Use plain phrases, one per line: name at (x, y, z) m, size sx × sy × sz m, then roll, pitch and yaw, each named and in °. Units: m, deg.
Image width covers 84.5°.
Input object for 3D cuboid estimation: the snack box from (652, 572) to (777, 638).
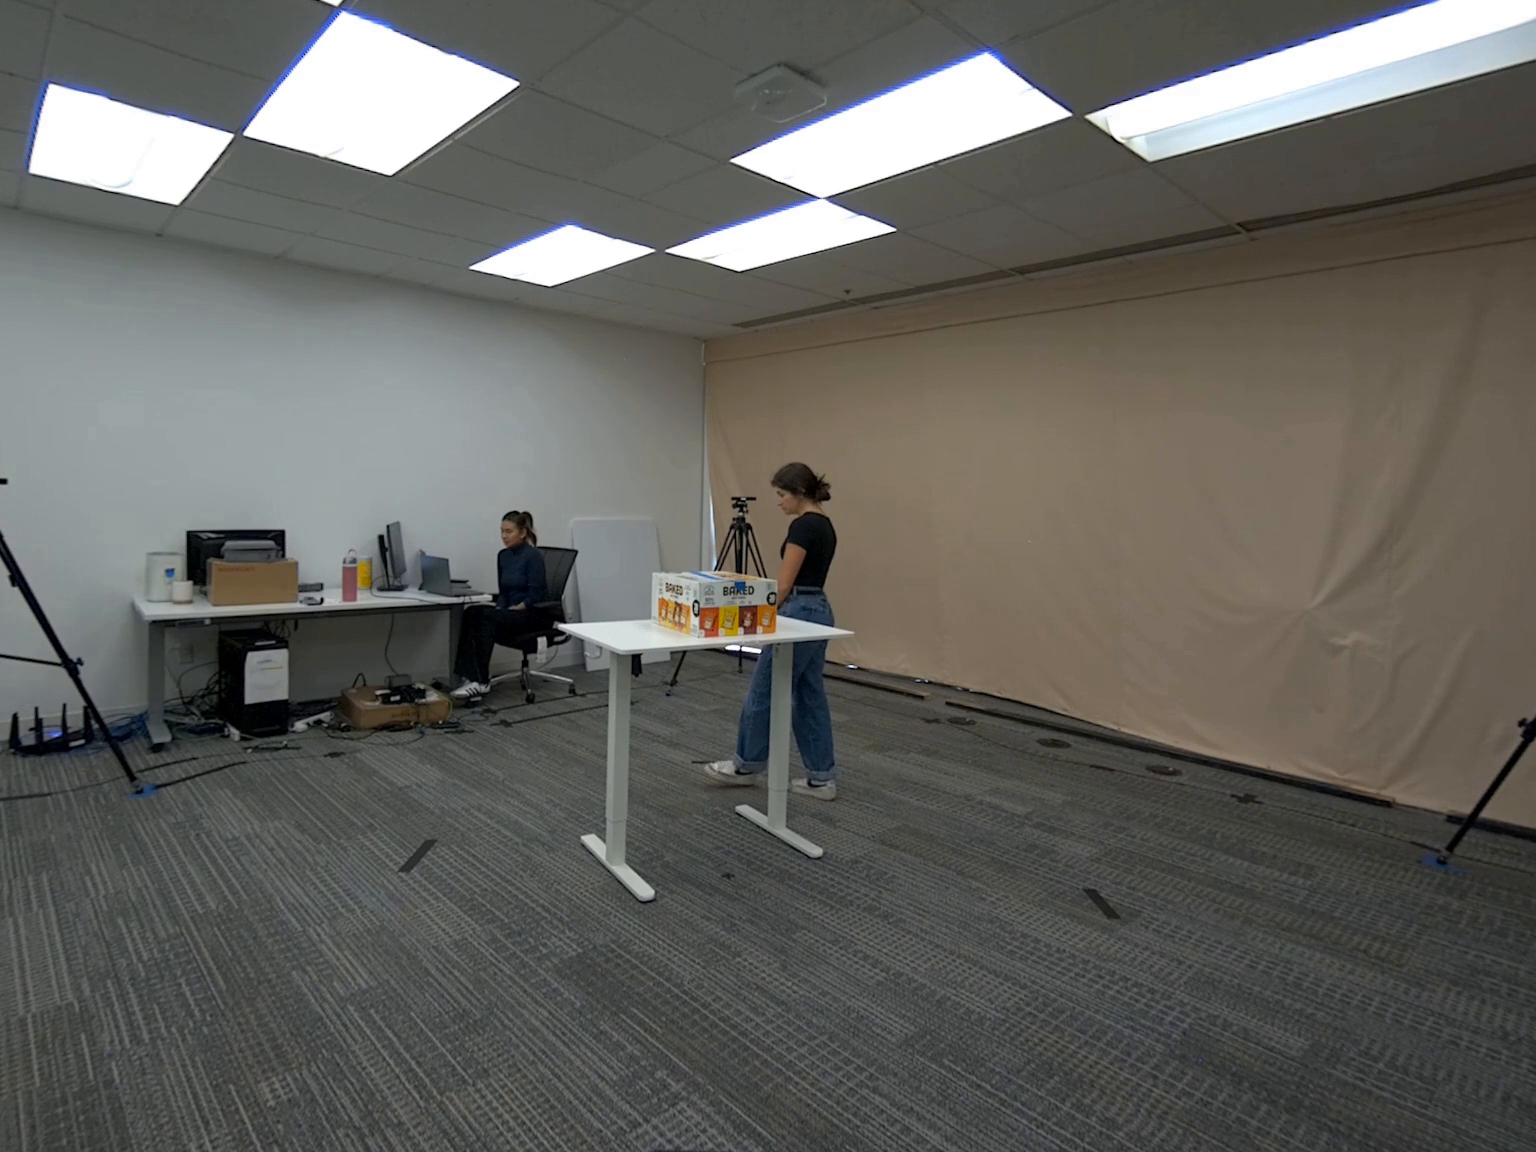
snack box at (-0.230, 0.102, 3.312) m, size 0.333 × 0.205 × 0.415 m, roll -1°, pitch 5°, yaw -32°
